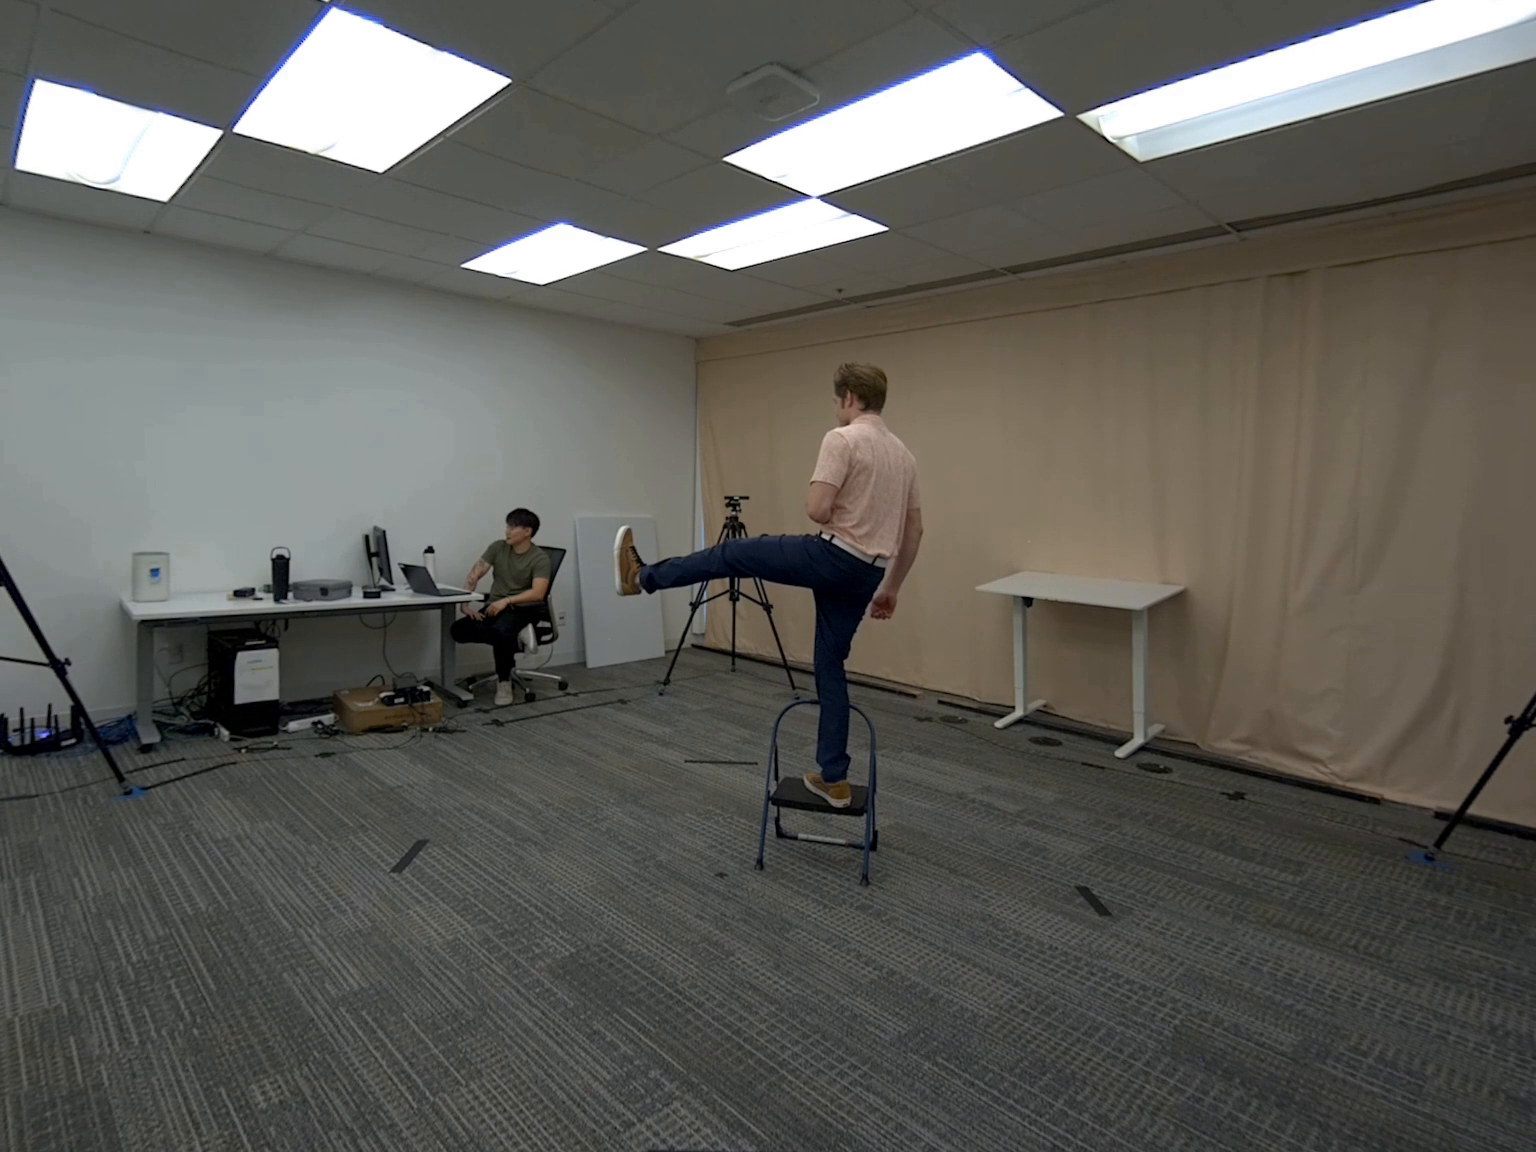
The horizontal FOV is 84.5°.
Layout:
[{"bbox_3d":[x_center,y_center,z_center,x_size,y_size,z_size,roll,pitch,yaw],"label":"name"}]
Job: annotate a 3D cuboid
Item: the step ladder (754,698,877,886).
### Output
[{"bbox_3d":[0.201,0.800,3.251,0.436,0.605,0.346,2,3,15],"label":"step ladder"}]
